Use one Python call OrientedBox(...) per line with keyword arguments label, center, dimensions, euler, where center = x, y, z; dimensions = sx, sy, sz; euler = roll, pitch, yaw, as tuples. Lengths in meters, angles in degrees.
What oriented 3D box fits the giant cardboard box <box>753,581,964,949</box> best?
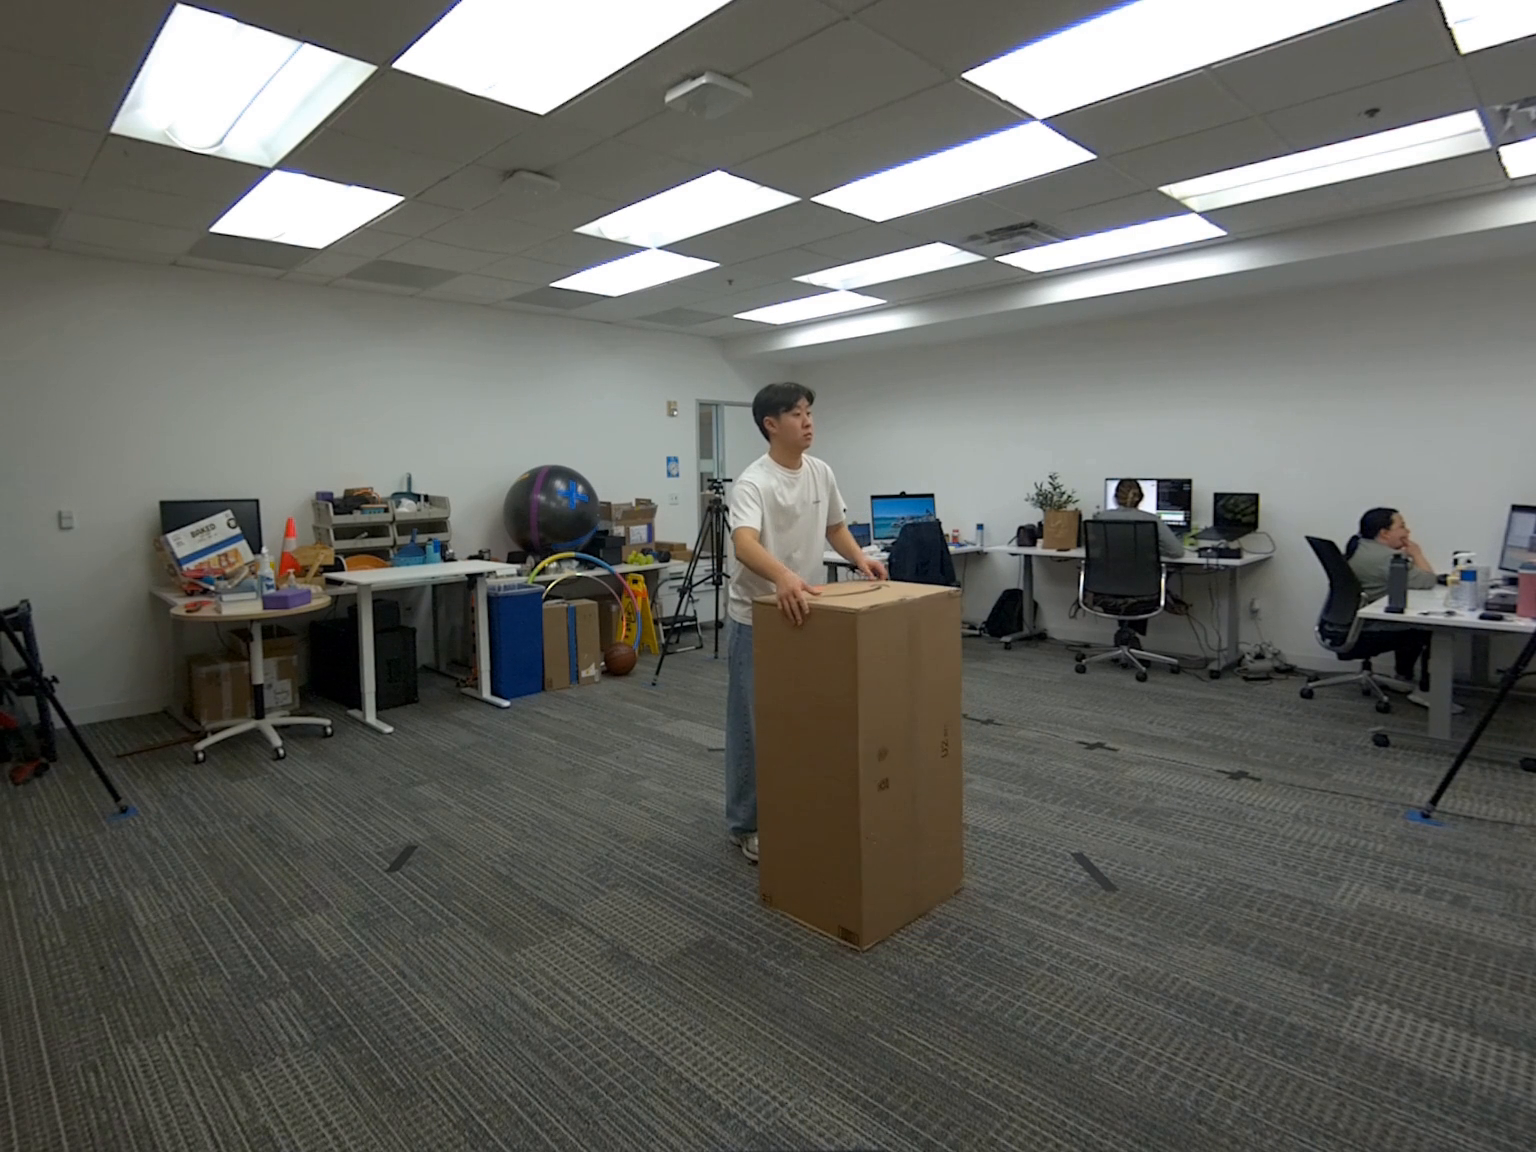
OrientedBox(label="giant cardboard box", center=(0.310, 0.562, 2.816), dimensions=(0.439, 1.022, 0.562), euler=(3, 6, 45))
